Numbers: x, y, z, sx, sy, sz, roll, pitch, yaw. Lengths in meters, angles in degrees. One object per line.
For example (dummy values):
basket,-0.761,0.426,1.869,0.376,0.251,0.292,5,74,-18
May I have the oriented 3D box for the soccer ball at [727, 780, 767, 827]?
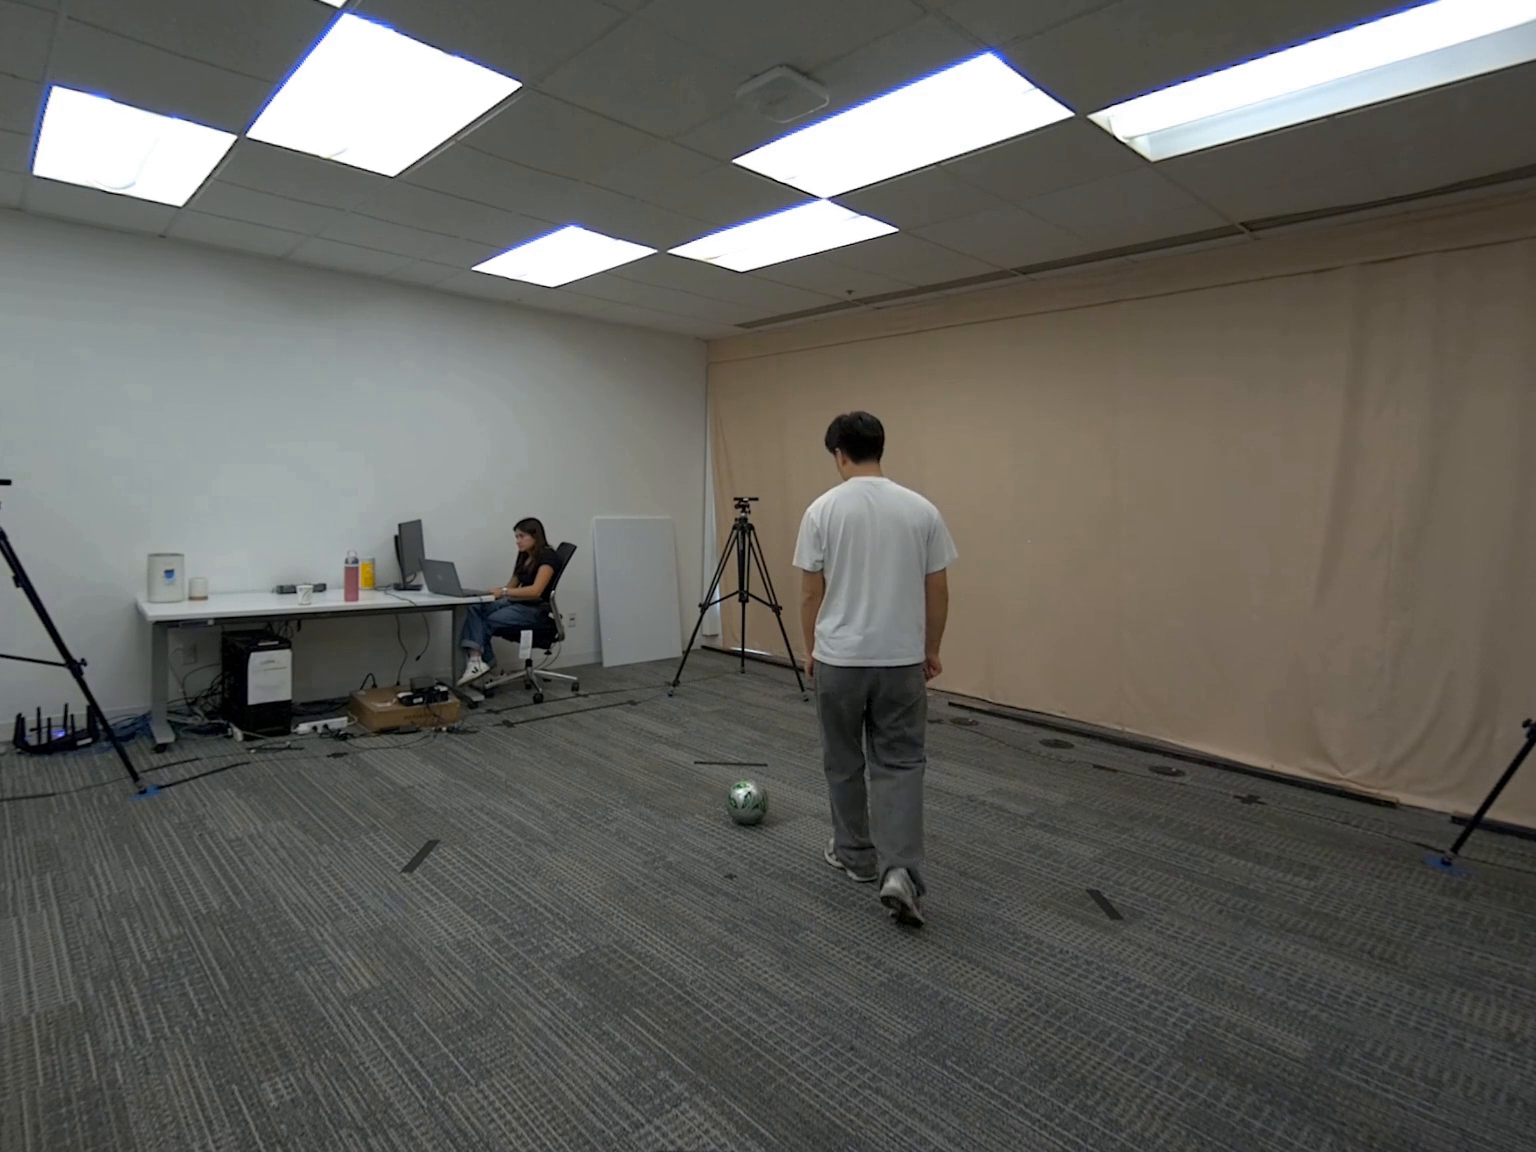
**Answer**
soccer ball,-0.100,0.974,3.618,0.187,0.187,0.188,1,4,-1
